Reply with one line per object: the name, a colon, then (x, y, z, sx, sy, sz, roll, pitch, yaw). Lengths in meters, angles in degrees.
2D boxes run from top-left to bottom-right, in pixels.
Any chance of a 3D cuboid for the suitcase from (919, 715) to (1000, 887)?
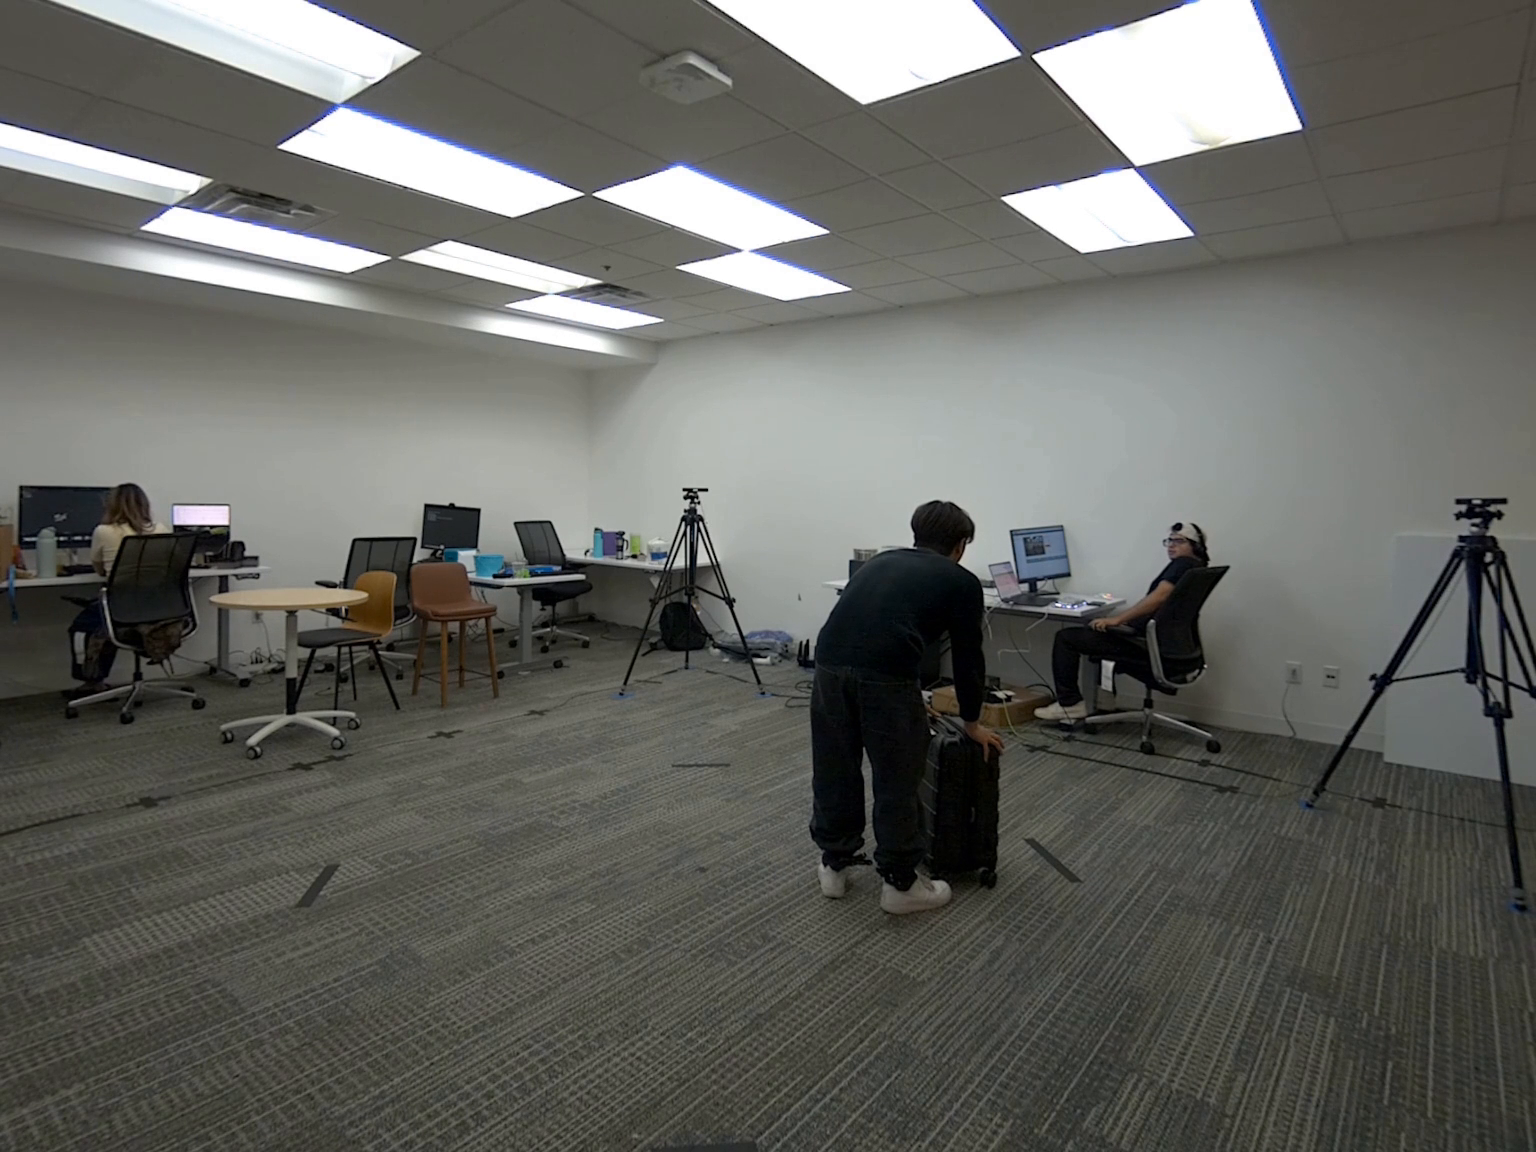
suitcase: (0.676, 0.806, 3.171, 0.246, 0.548, 0.381, 1, 4, -11)
